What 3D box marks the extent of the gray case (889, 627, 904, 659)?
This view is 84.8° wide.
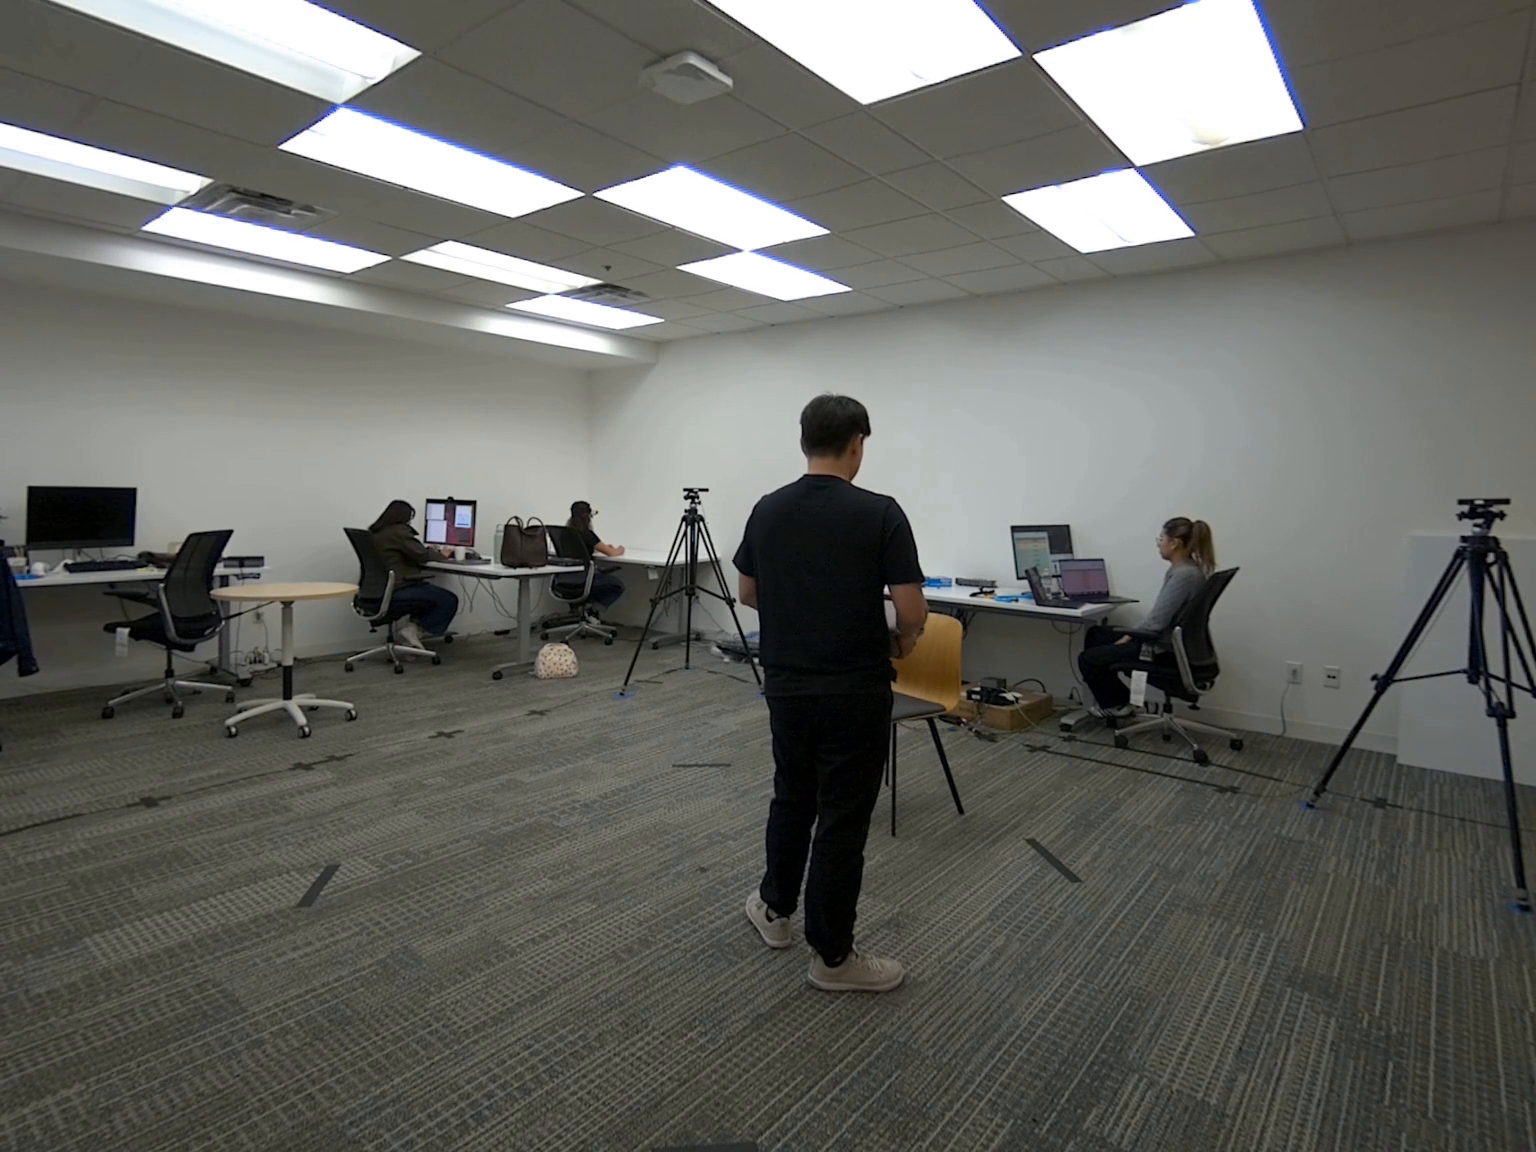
[{"bbox_3d":[0.327,0.145,2.690,0.265,0.103,0.254,4,14,44],"label":"gray case"}]
